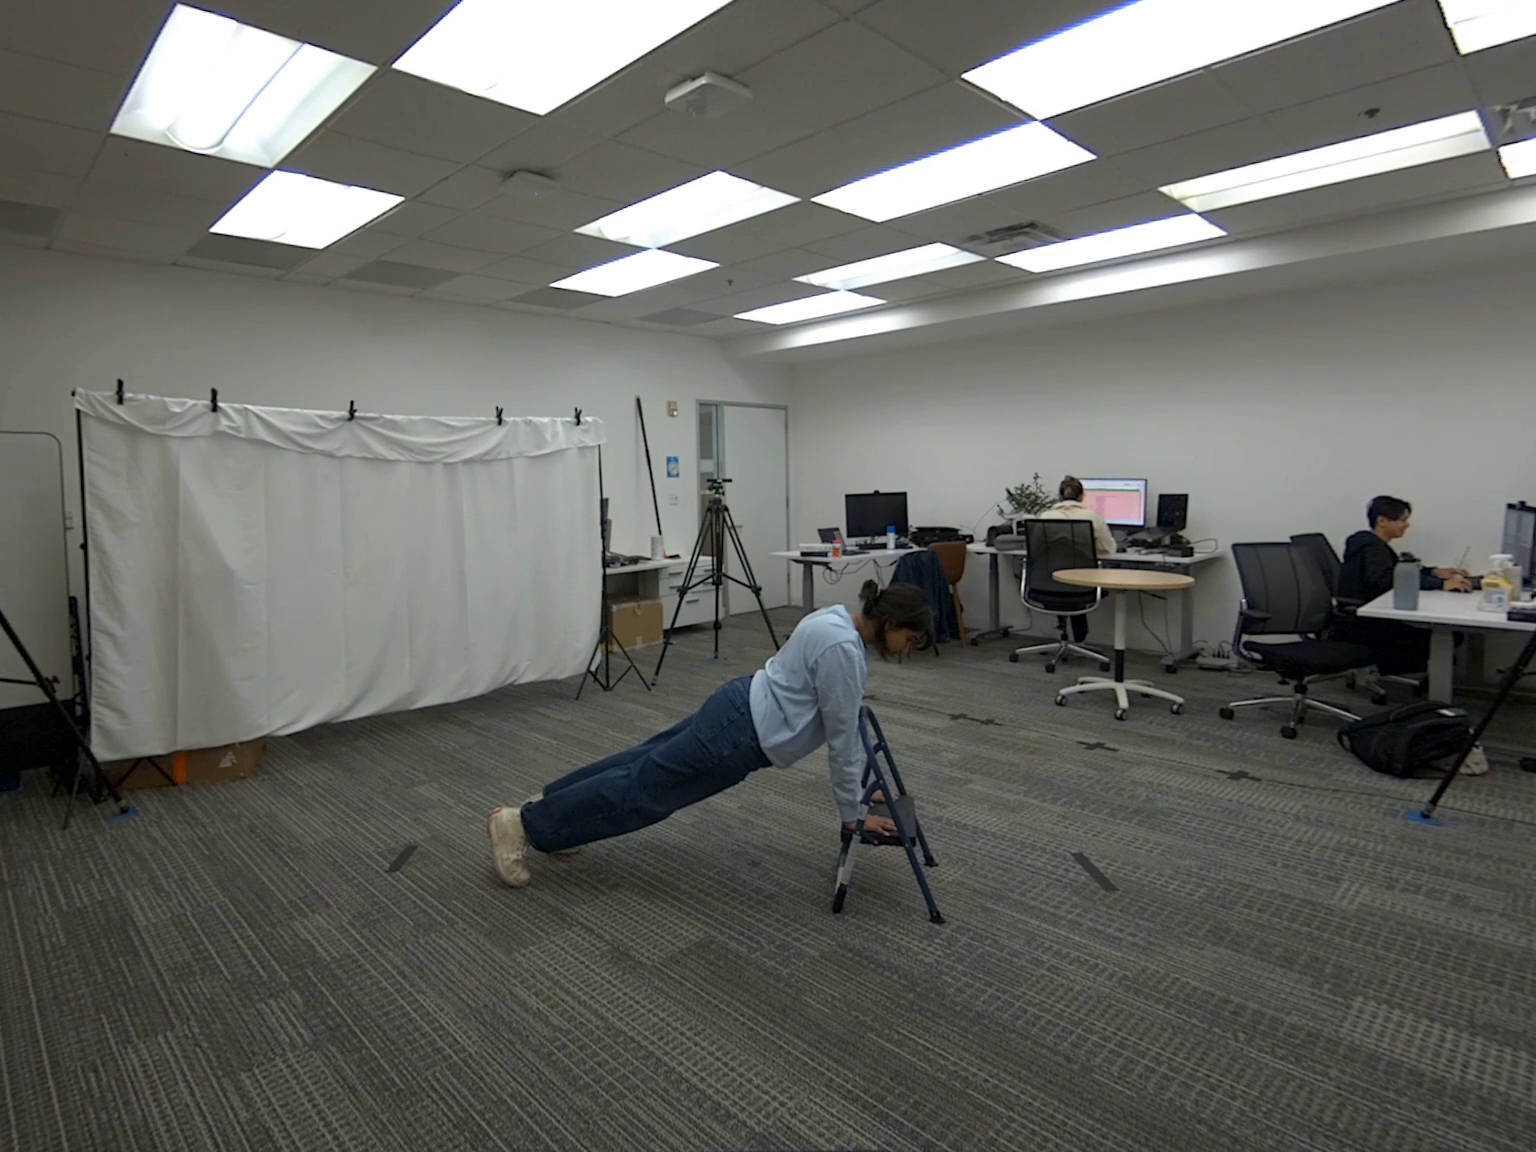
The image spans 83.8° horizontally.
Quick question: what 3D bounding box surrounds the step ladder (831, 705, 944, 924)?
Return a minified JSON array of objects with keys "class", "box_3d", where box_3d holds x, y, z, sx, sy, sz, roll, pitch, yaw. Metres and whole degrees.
[{"class":"step ladder","box_3d":[0.401,0.758,2.889,0.353,0.604,0.428,0,4,9]}]
